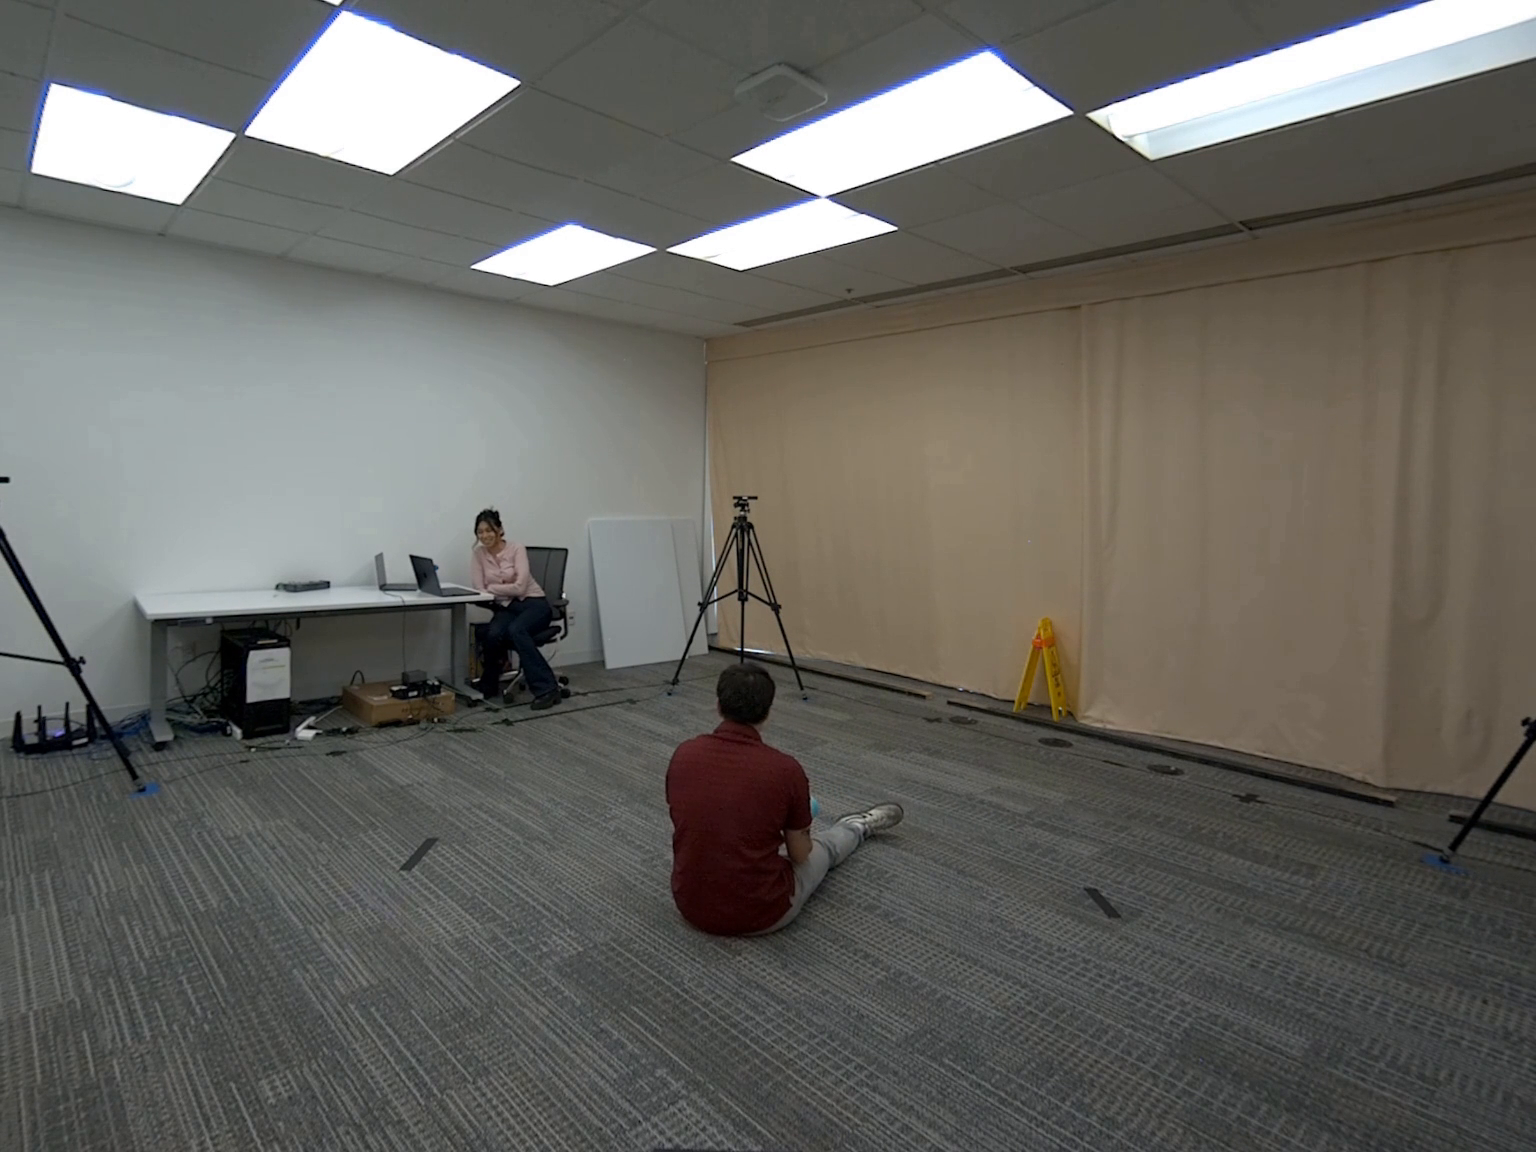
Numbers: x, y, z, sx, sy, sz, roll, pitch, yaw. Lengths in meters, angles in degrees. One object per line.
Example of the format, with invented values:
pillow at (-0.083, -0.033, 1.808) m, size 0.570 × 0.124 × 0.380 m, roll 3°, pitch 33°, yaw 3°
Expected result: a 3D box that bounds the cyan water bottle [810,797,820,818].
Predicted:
cyan water bottle at (0.086, 0.912, 3.127) m, size 0.094 × 0.092 × 0.278 m, roll 4°, pitch 7°, yaw 28°
